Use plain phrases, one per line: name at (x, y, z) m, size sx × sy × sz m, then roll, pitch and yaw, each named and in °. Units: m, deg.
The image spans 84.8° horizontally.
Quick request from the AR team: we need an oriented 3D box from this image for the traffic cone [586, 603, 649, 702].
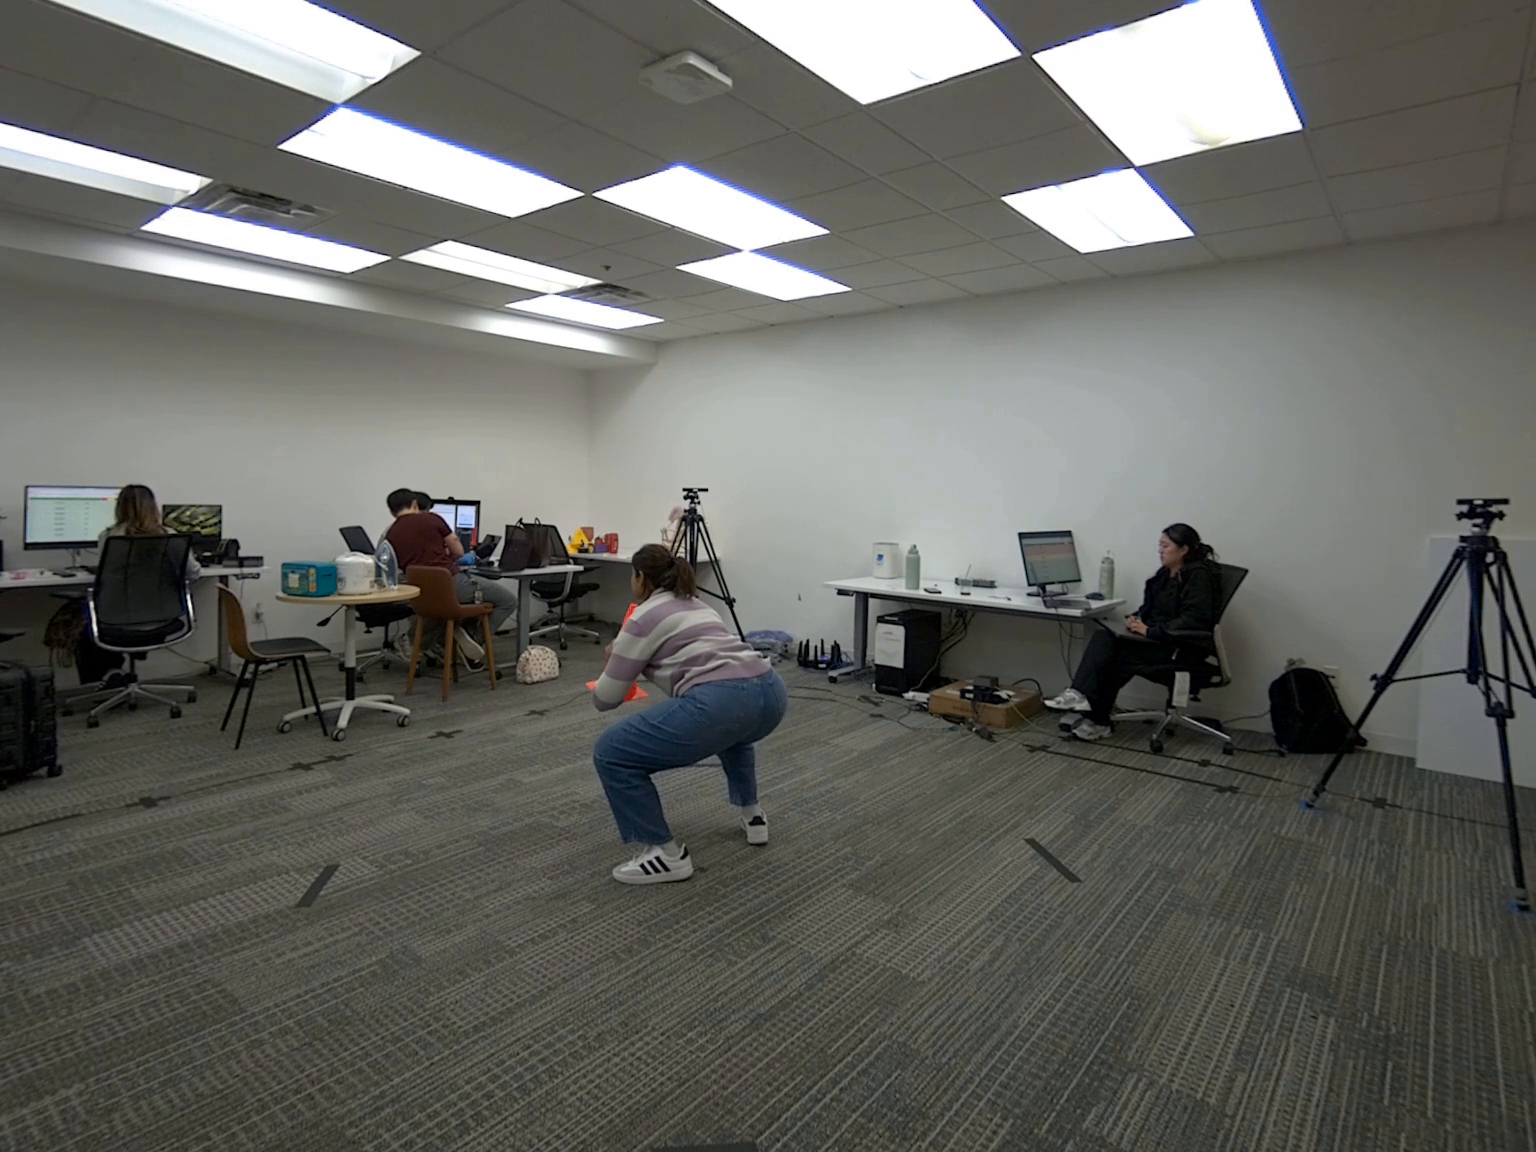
traffic cone at (-0.591, 0.293, 3.498) m, size 0.198 × 0.380 × 0.212 m, roll 1°, pitch 17°, yaw -46°
